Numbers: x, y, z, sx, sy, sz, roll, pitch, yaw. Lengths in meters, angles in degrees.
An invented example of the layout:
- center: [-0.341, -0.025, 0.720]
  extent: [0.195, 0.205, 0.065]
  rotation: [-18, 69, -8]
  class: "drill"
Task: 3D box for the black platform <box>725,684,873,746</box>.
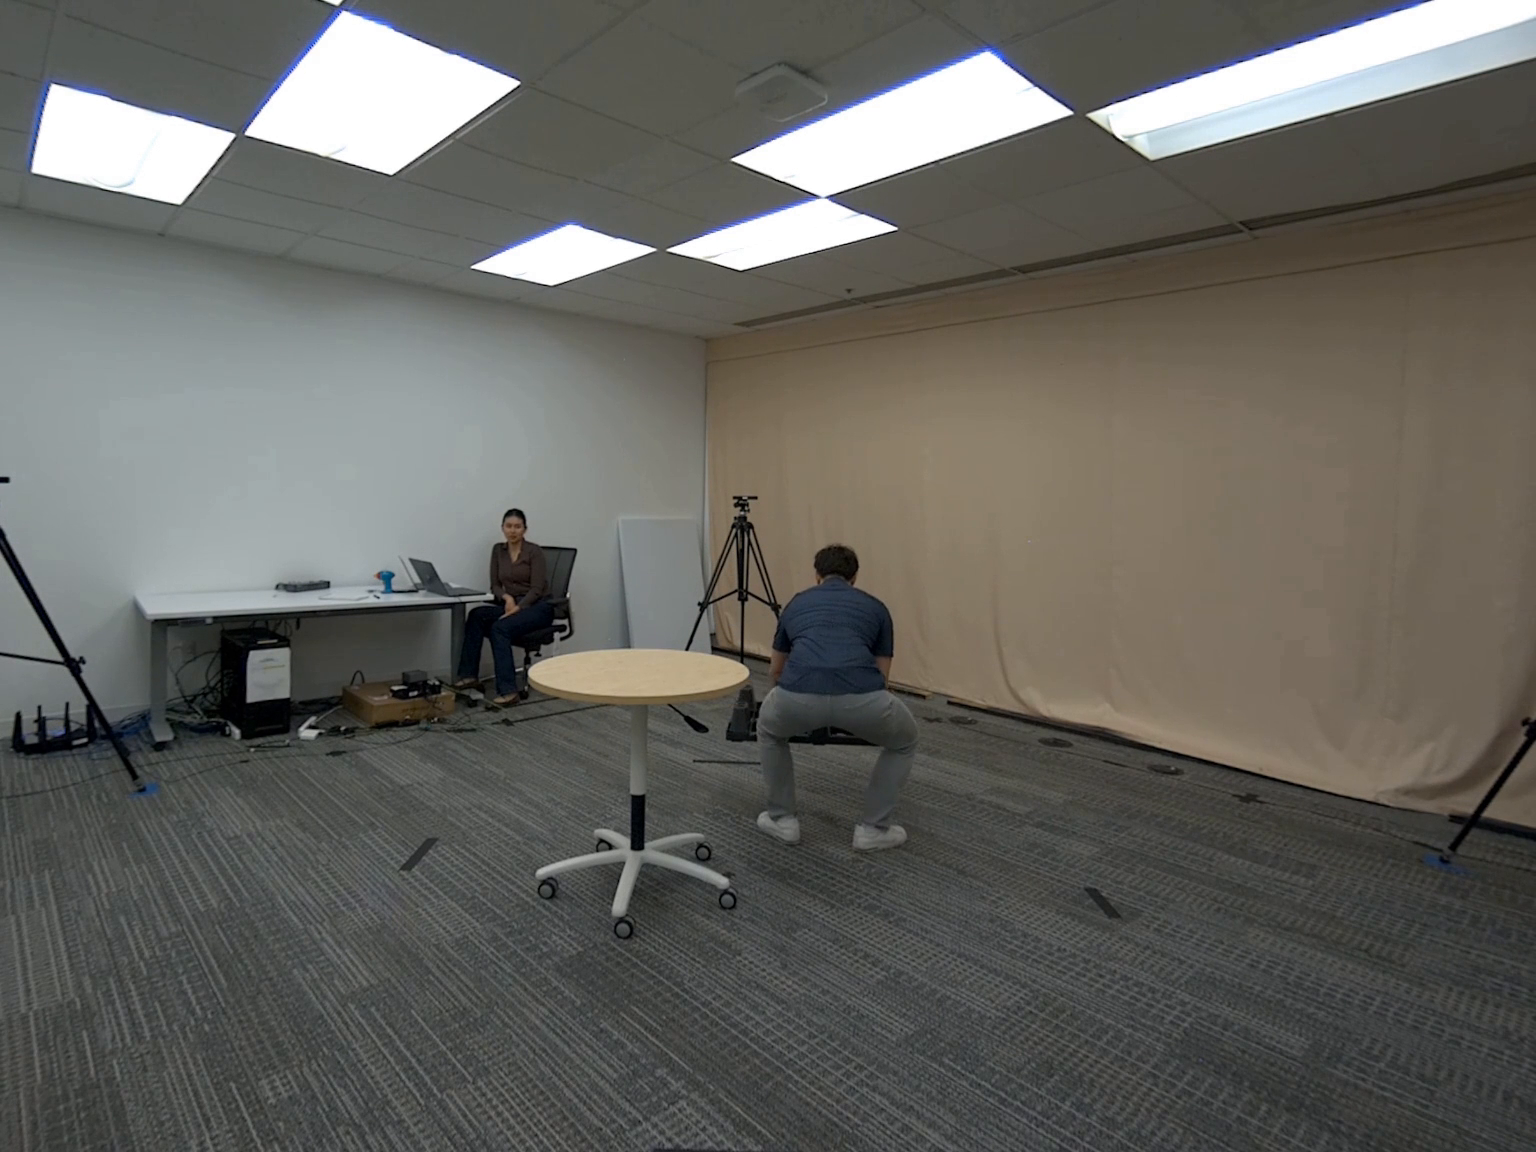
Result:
- center: [0.225, 0.631, 3.868]
  extent: [0.808, 0.143, 0.605]
  rotation: [2, 5, 3]
  class: "black platform"
